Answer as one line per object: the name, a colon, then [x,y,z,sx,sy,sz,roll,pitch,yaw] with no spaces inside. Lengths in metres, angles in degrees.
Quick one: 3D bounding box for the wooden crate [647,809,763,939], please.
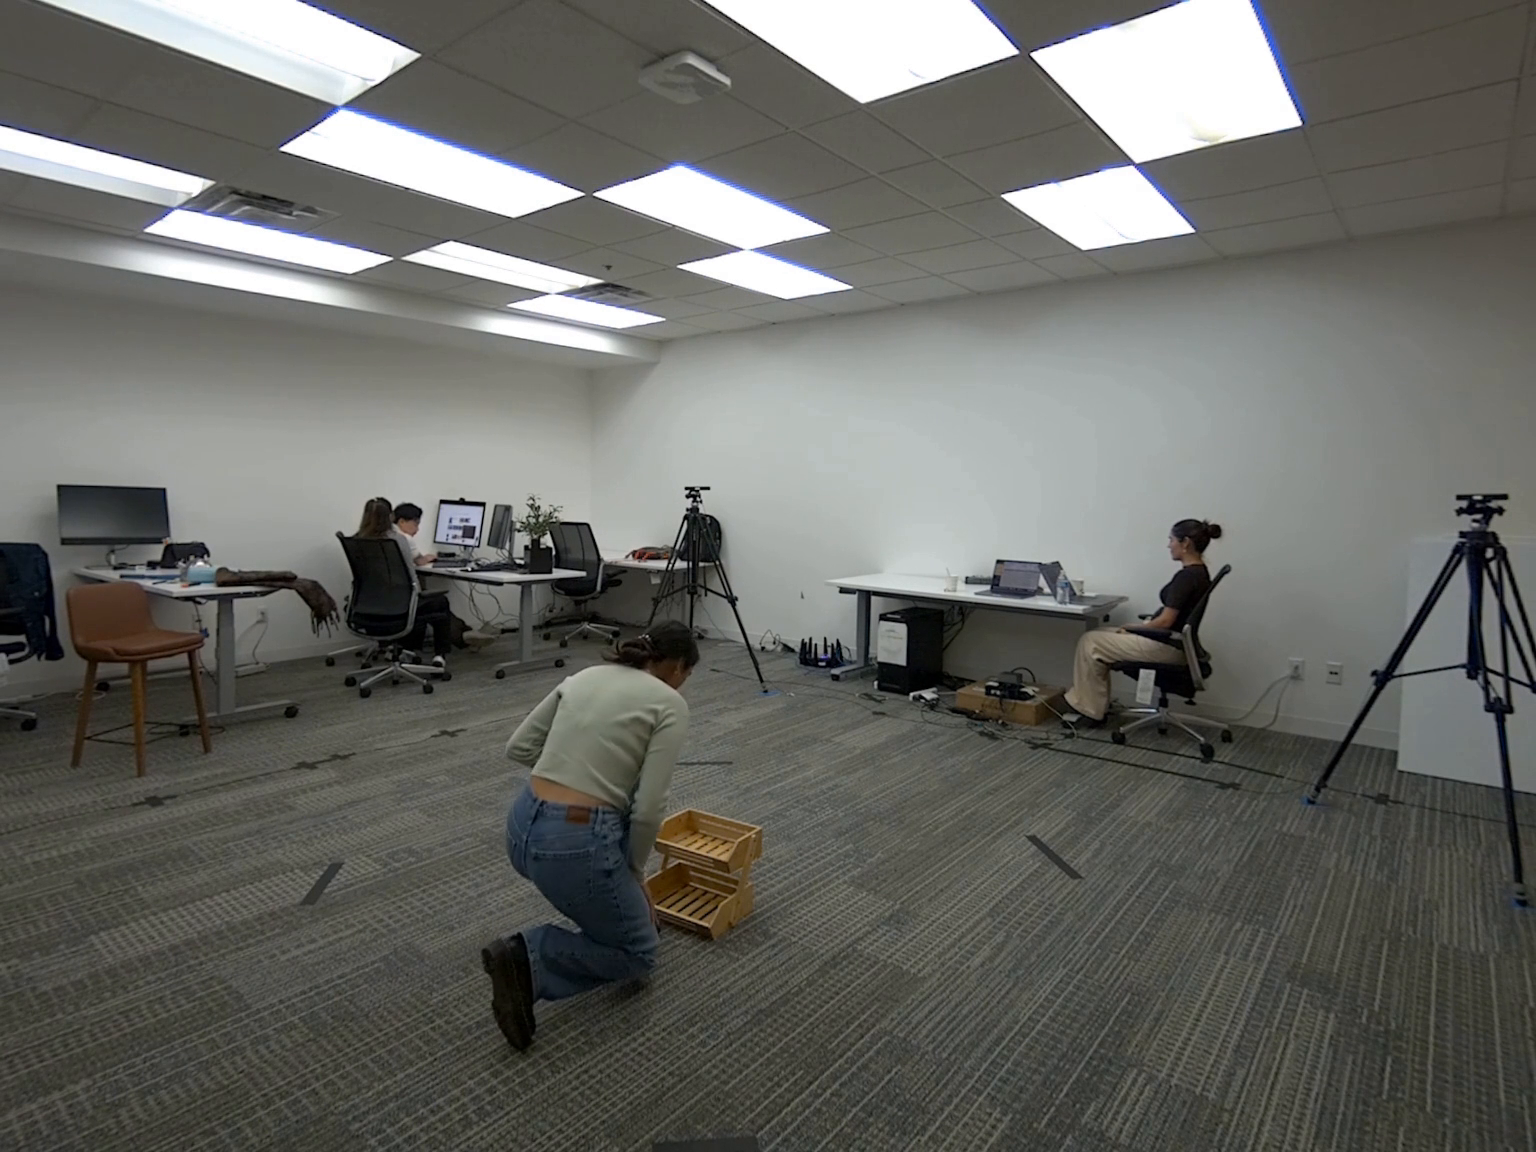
wooden crate: [-0.235,0.961,2.792,0.334,0.273,0.294,3,4,31]
